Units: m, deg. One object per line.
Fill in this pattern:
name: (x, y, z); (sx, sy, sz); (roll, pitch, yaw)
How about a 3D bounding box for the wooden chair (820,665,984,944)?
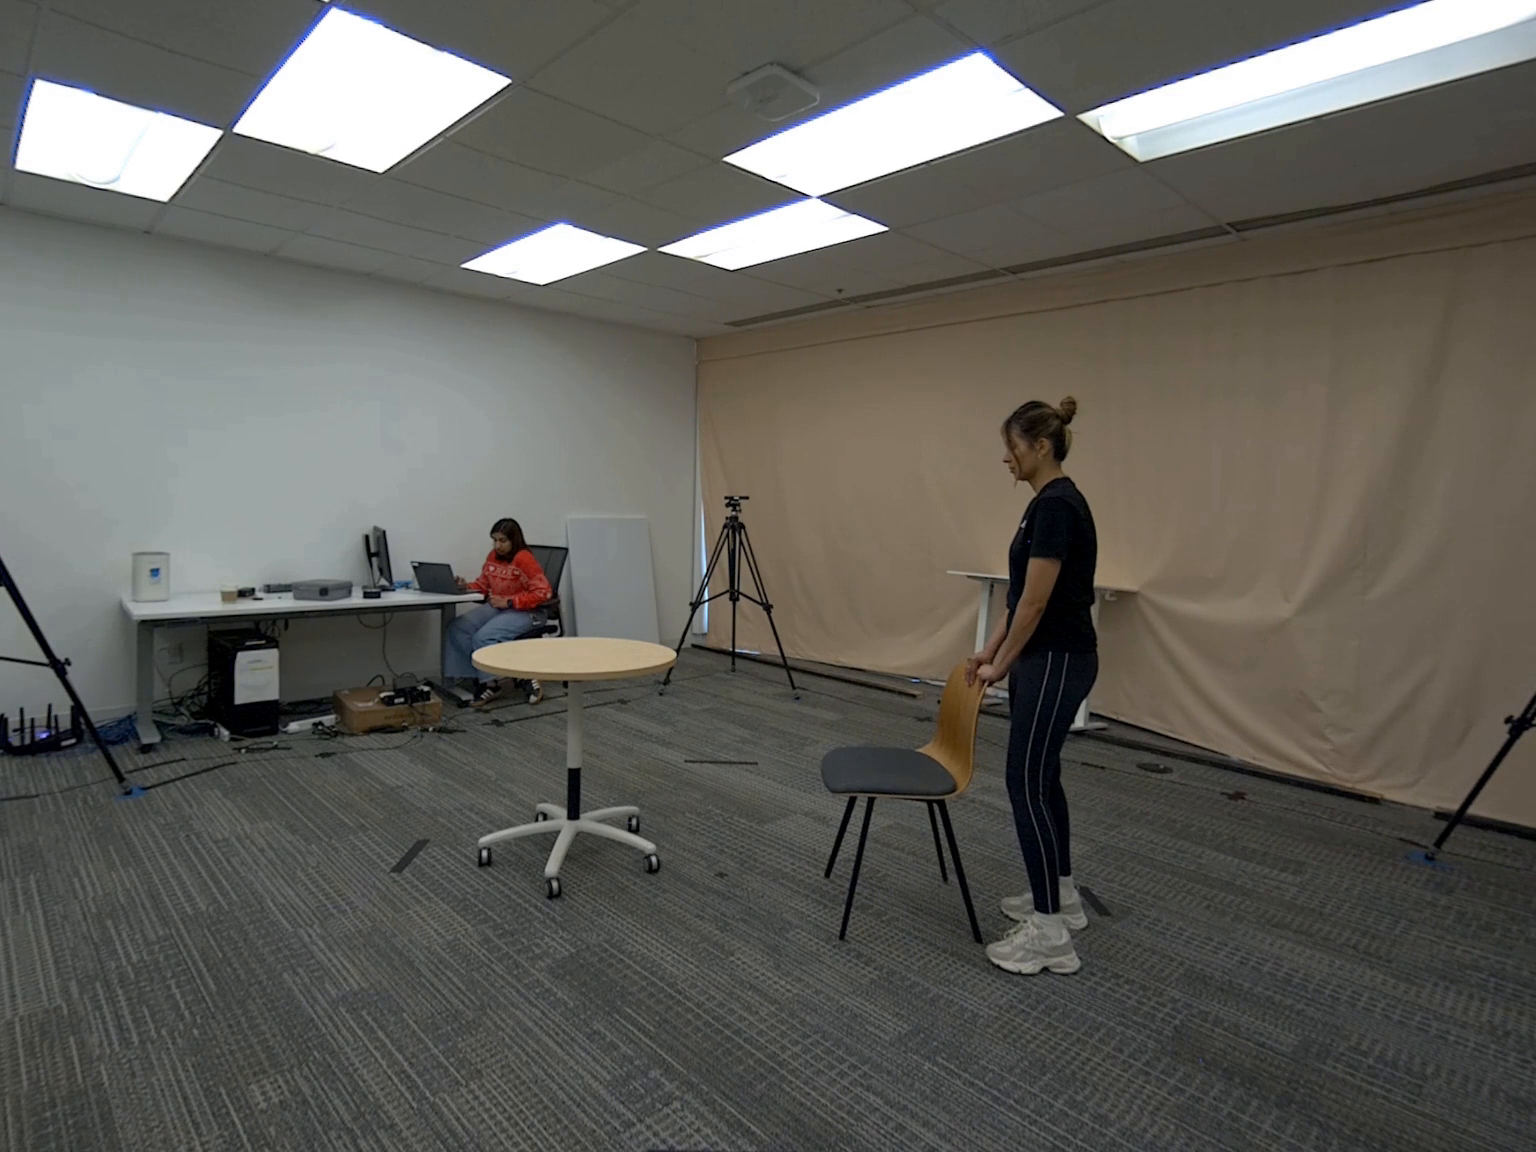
wooden chair: (0.437, 0.710, 2.855); (0.523, 0.875, 0.479); (6, 4, -1)
